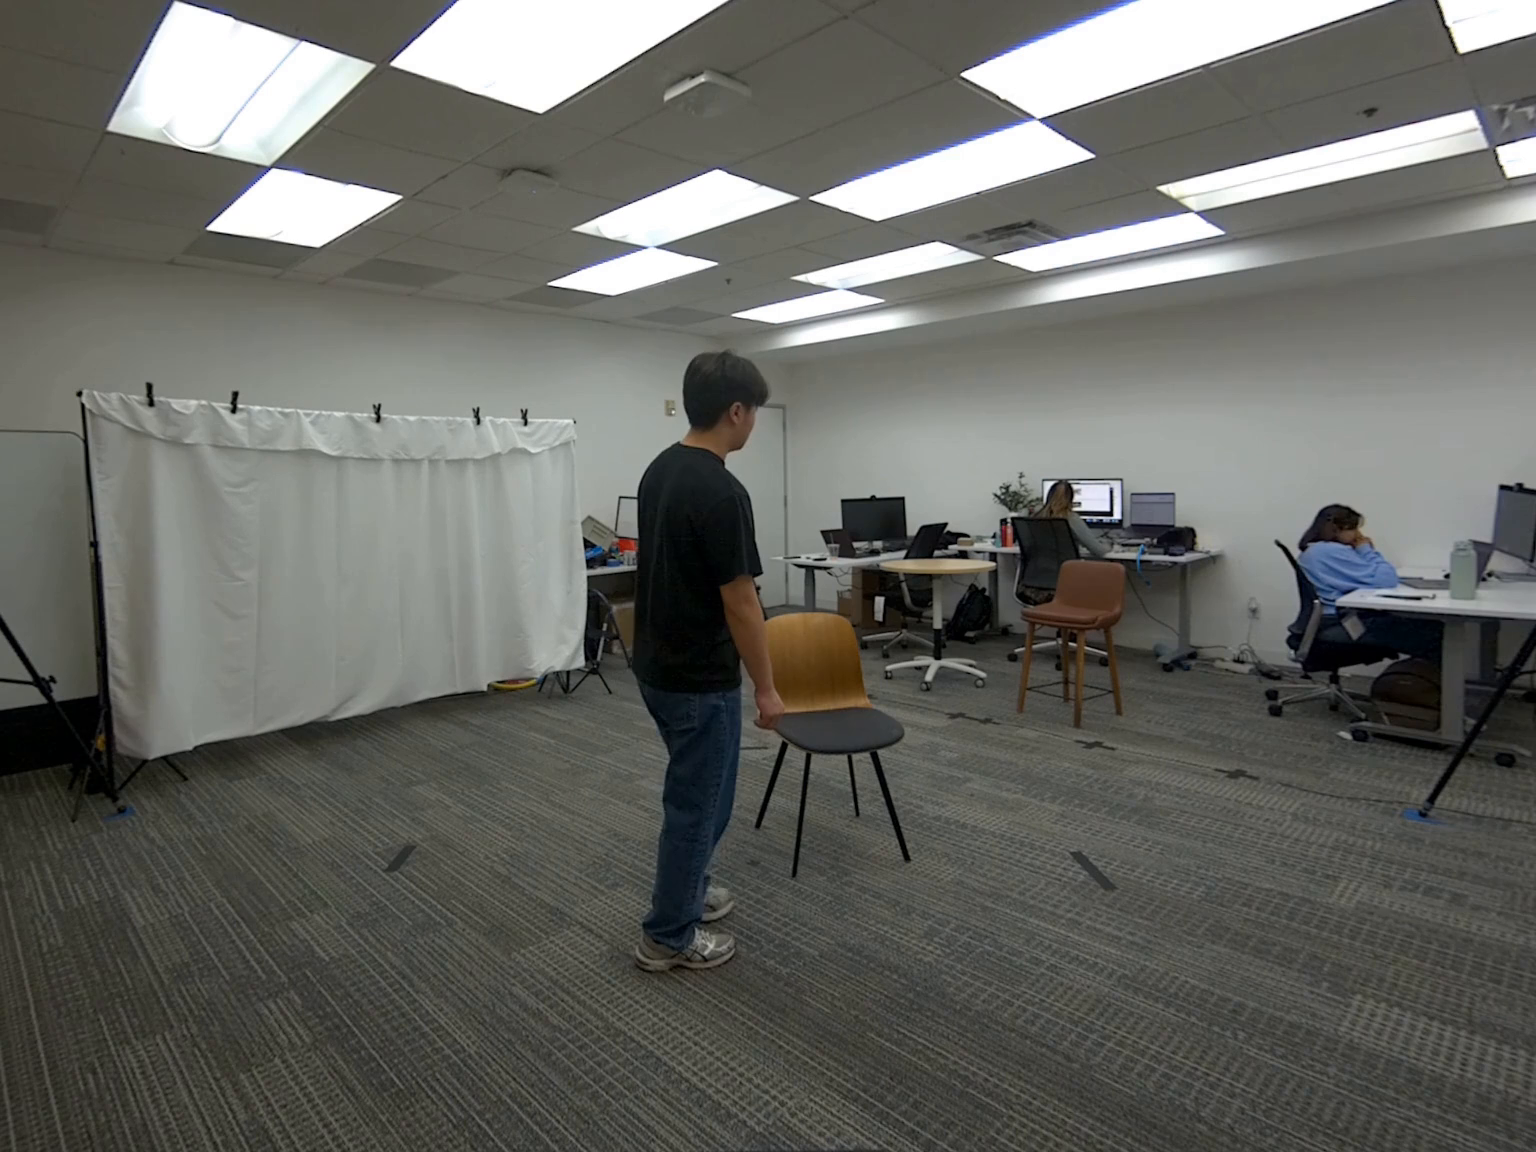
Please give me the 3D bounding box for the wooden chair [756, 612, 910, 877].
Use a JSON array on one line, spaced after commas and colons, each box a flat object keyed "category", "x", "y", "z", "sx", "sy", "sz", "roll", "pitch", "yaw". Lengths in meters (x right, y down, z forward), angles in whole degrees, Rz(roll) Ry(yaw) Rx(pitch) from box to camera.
[{"category": "wooden chair", "x": 0.228, "y": 0.599, "z": 3.220, "sx": 0.471, "sy": 0.877, "sz": 0.531, "roll": -2, "pitch": 0, "yaw": -17}]
